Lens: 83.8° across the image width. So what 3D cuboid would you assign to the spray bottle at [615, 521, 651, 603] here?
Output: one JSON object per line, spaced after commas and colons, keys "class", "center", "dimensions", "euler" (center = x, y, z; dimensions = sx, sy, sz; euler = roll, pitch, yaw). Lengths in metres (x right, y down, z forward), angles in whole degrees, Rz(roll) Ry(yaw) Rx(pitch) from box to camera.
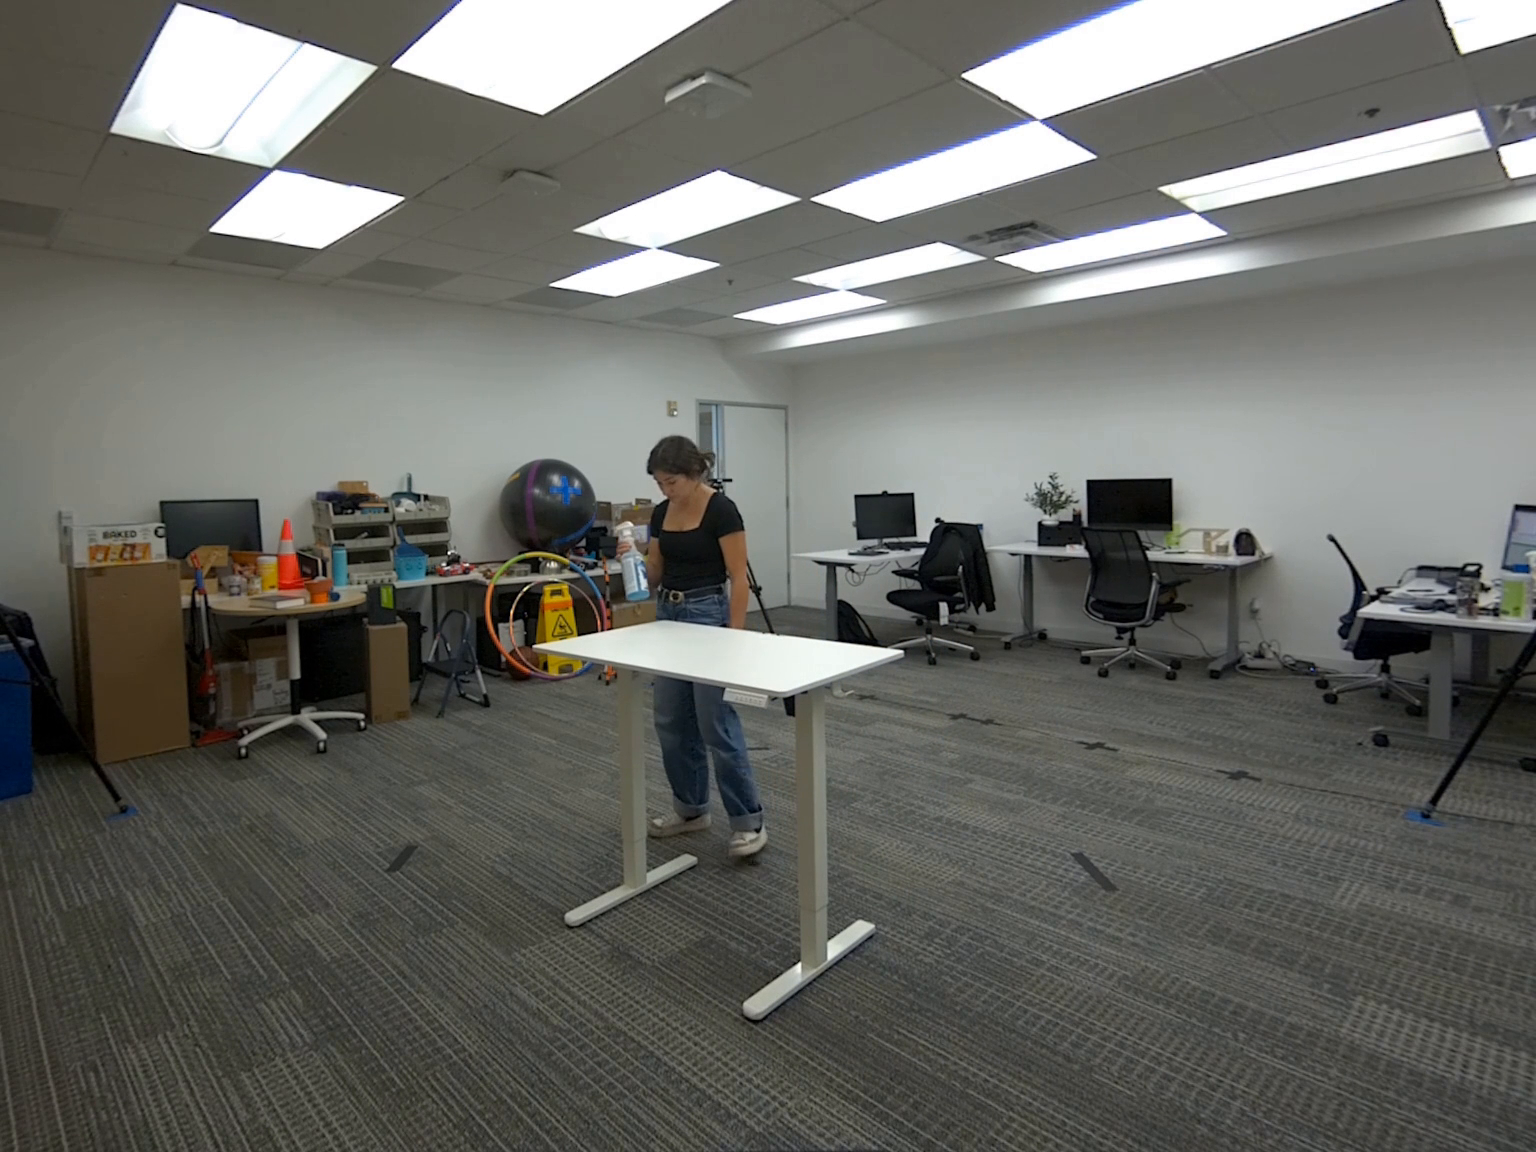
{"class": "spray bottle", "center": [-0.501, -0.059, 3.135], "dimensions": [0.085, 0.303, 0.090], "euler": [-4, -20, -23]}
